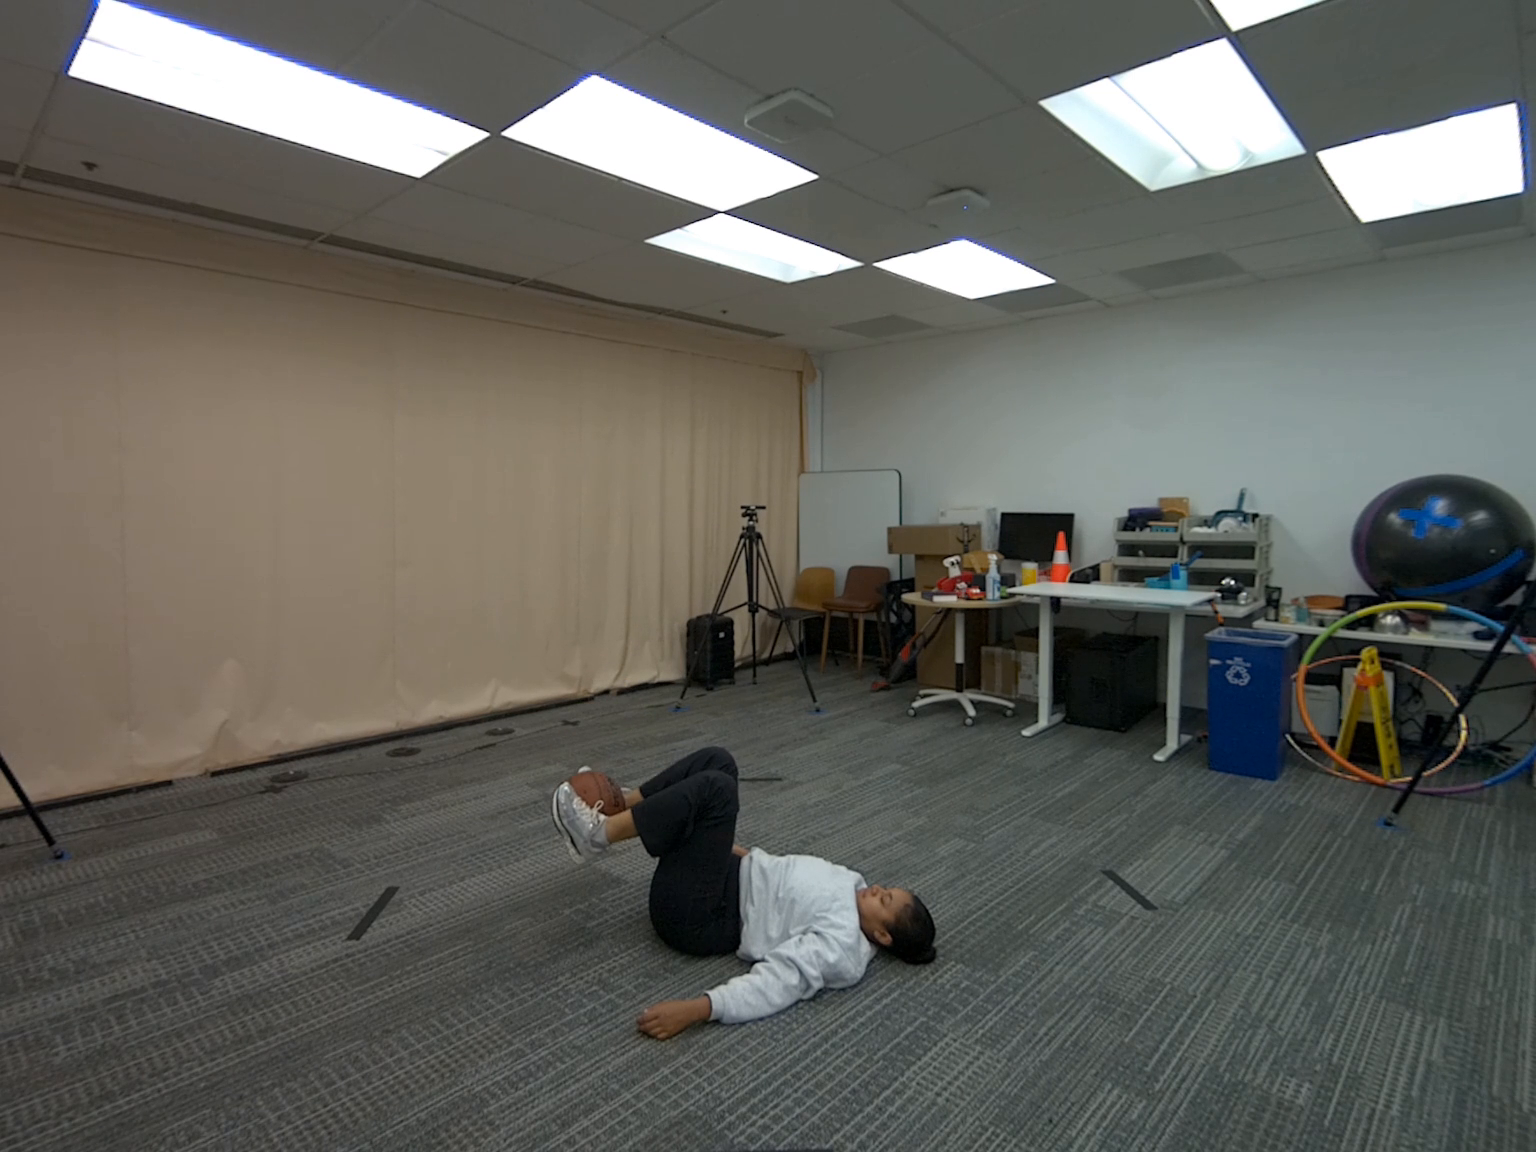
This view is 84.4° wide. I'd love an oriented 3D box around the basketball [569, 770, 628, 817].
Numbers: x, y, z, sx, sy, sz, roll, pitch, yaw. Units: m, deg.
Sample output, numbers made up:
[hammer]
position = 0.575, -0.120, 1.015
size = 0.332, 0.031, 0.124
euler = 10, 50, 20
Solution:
[basketball]
position = -0.594, 0.759, 2.759
size = 0.236, 0.236, 0.236
euler = 2, 0, -2
